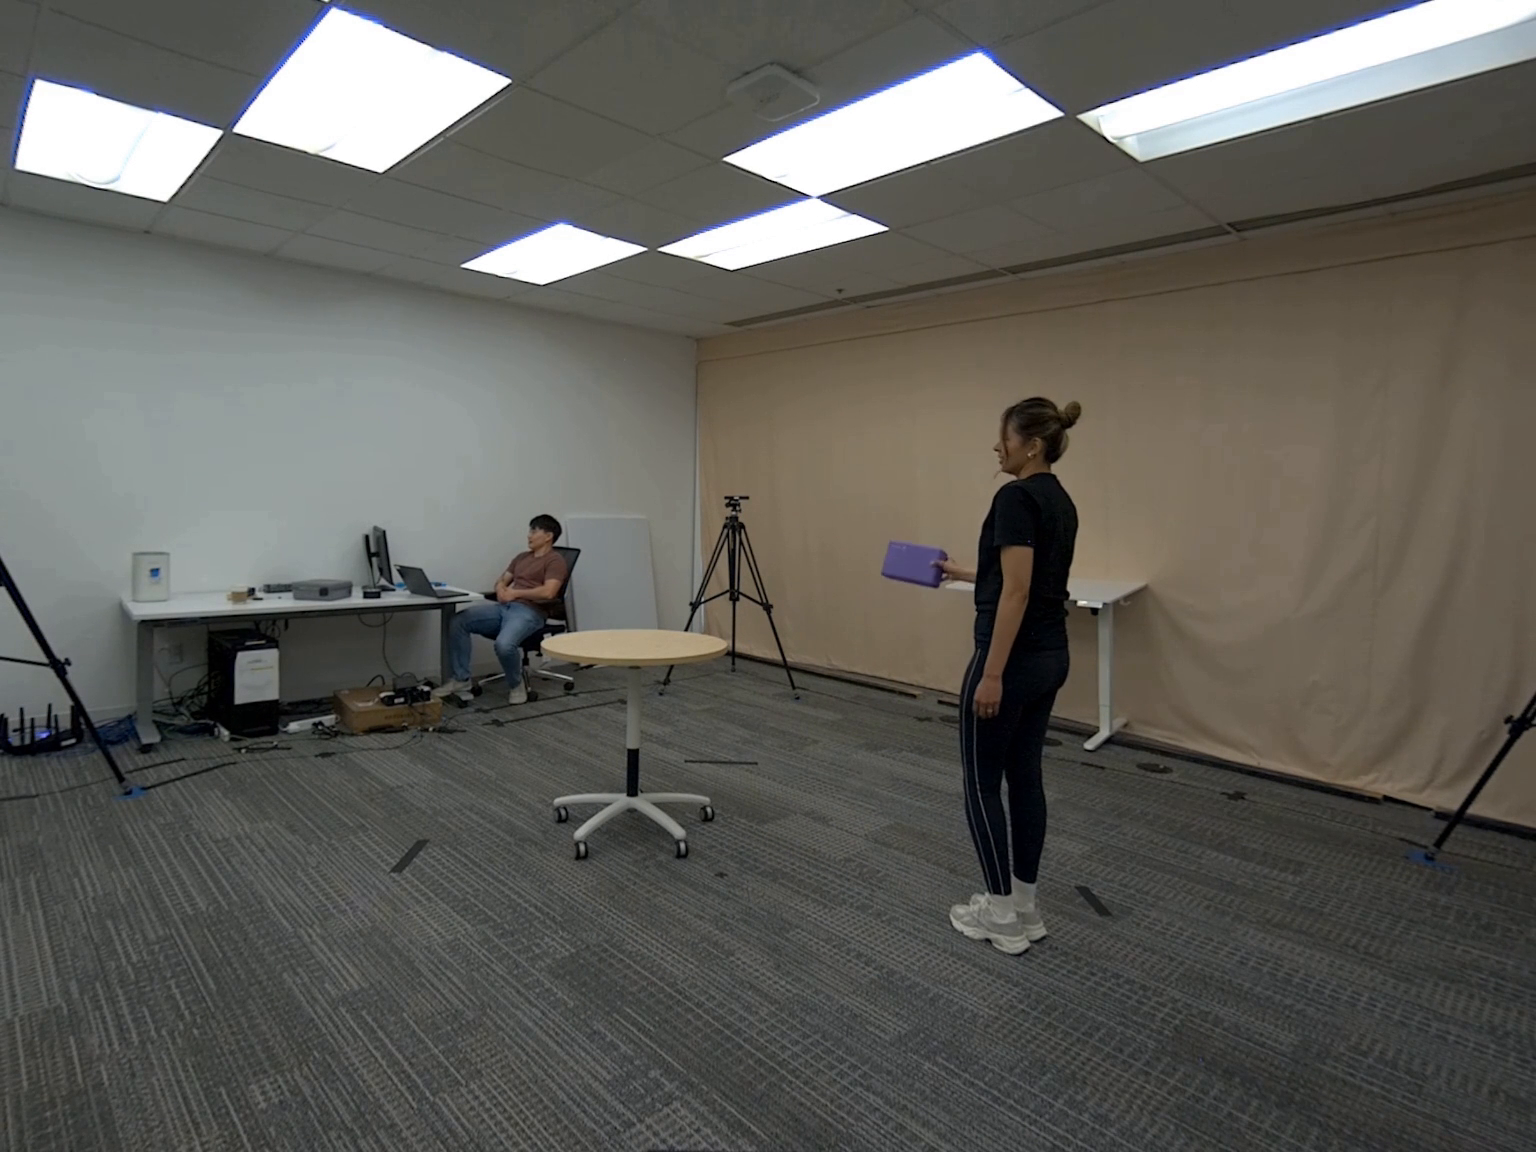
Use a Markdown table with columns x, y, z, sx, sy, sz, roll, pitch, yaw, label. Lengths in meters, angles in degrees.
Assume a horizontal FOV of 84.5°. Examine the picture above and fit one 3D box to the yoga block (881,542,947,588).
| x | y | z | sx | sy | sz | roll | pitch | yaw | label |
| --- | --- | --- | --- | --- | --- | --- | --- | --- | --- |
| 0.580 | -0.044 | 3.316 | 0.235 | 0.149 | 0.074 | 12 | -8 | 34 | yoga block |
